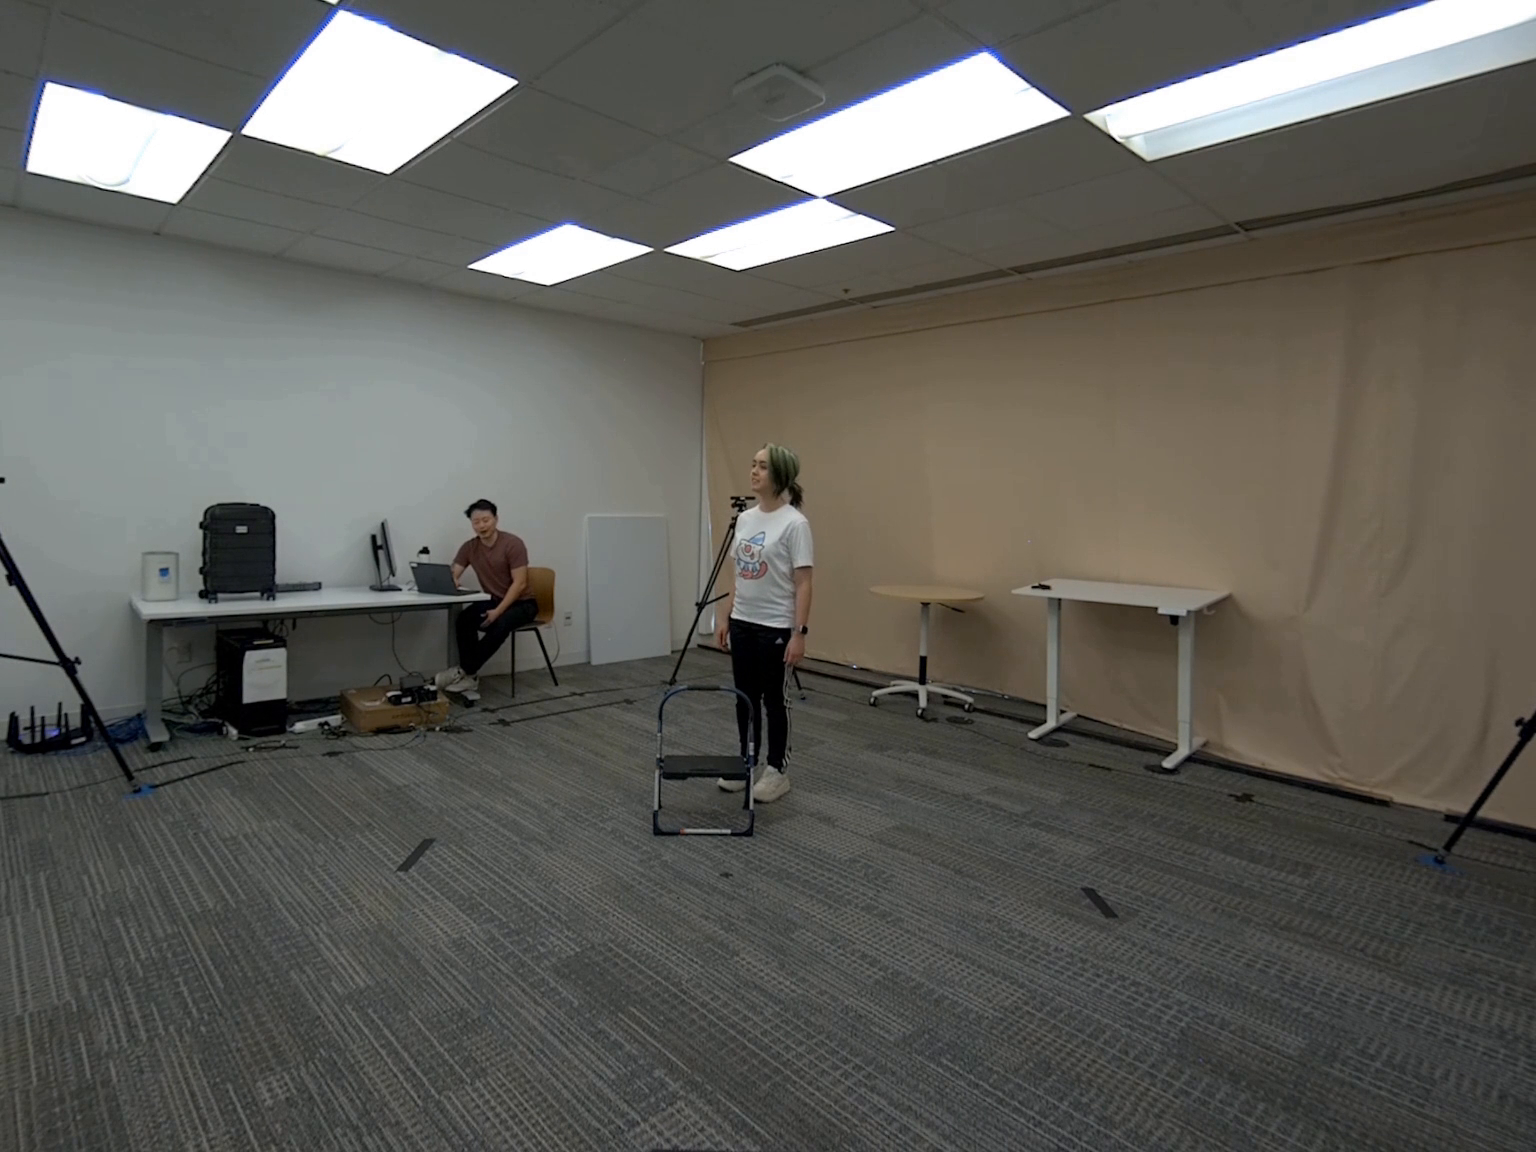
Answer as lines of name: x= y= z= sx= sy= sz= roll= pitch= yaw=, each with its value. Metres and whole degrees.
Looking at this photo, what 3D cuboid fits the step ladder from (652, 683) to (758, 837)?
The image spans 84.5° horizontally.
step ladder: x=-0.283 y=0.757 z=3.612 sx=0.429 sy=0.605 sz=0.351 roll=2 pitch=3 yaw=-4
